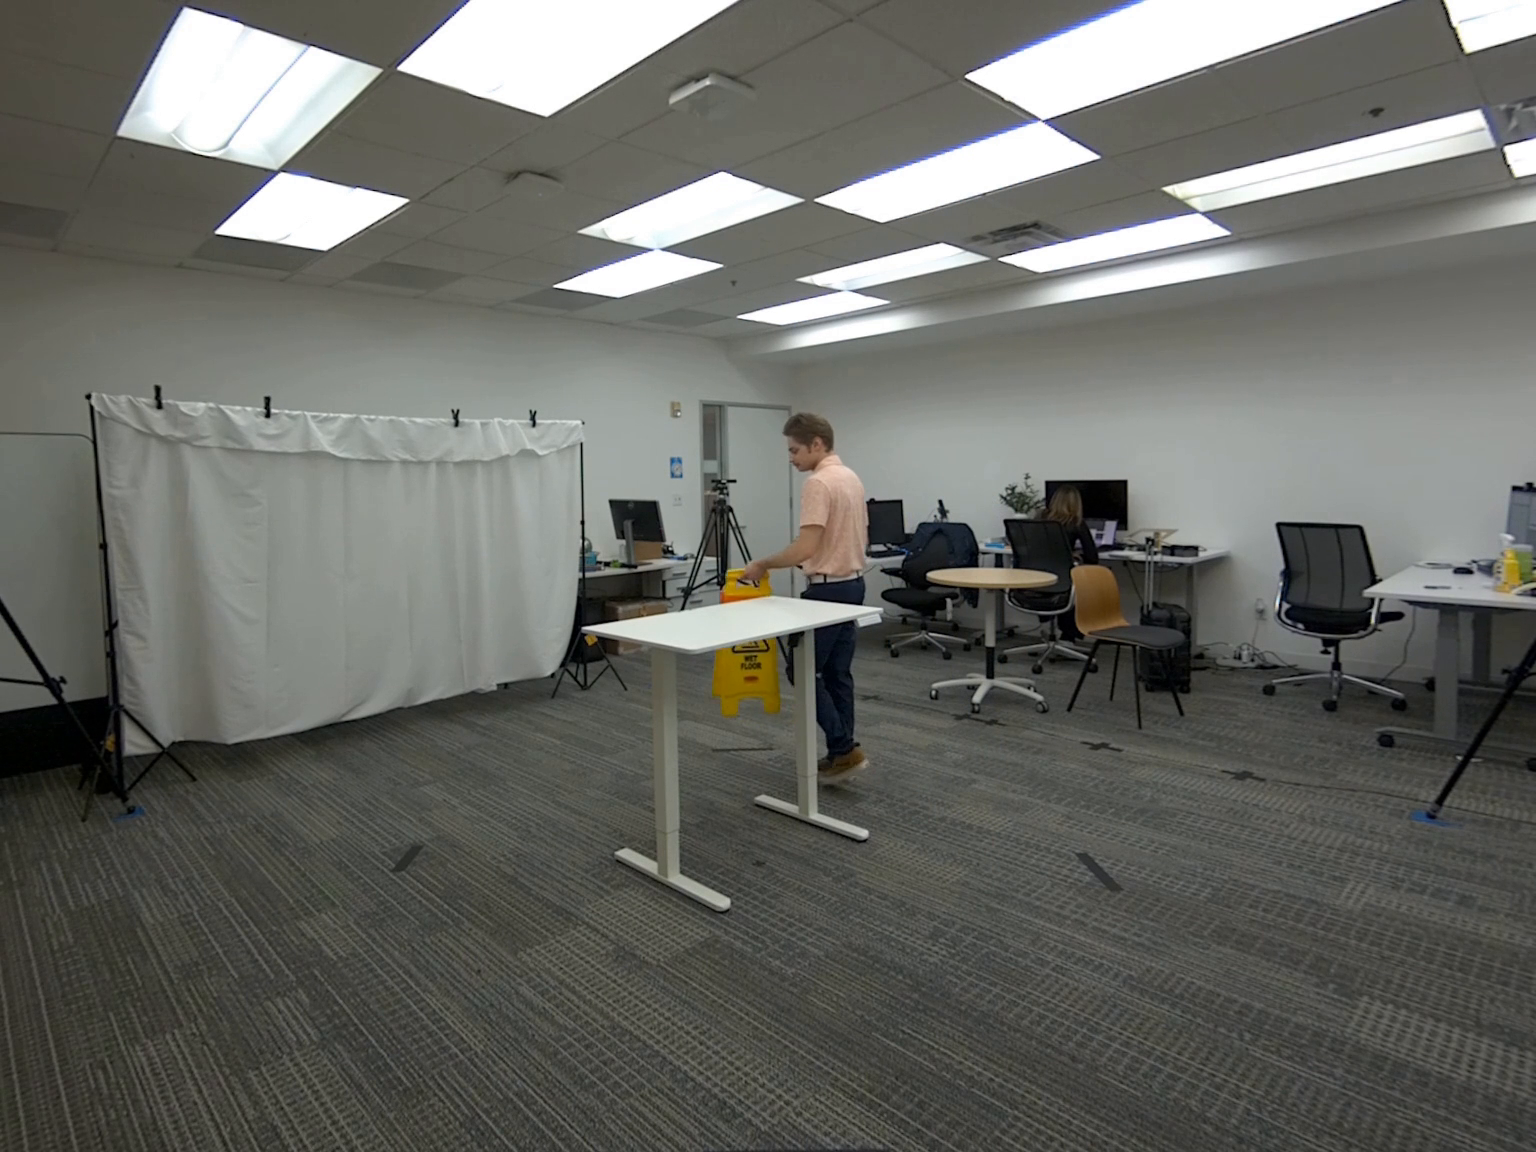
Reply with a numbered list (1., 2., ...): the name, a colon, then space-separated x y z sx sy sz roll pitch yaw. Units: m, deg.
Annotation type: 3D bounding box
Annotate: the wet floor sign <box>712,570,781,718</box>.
1. wet floor sign: -0.095 0.288 3.969 0.279 0.640 0.296 -1 10 -13
